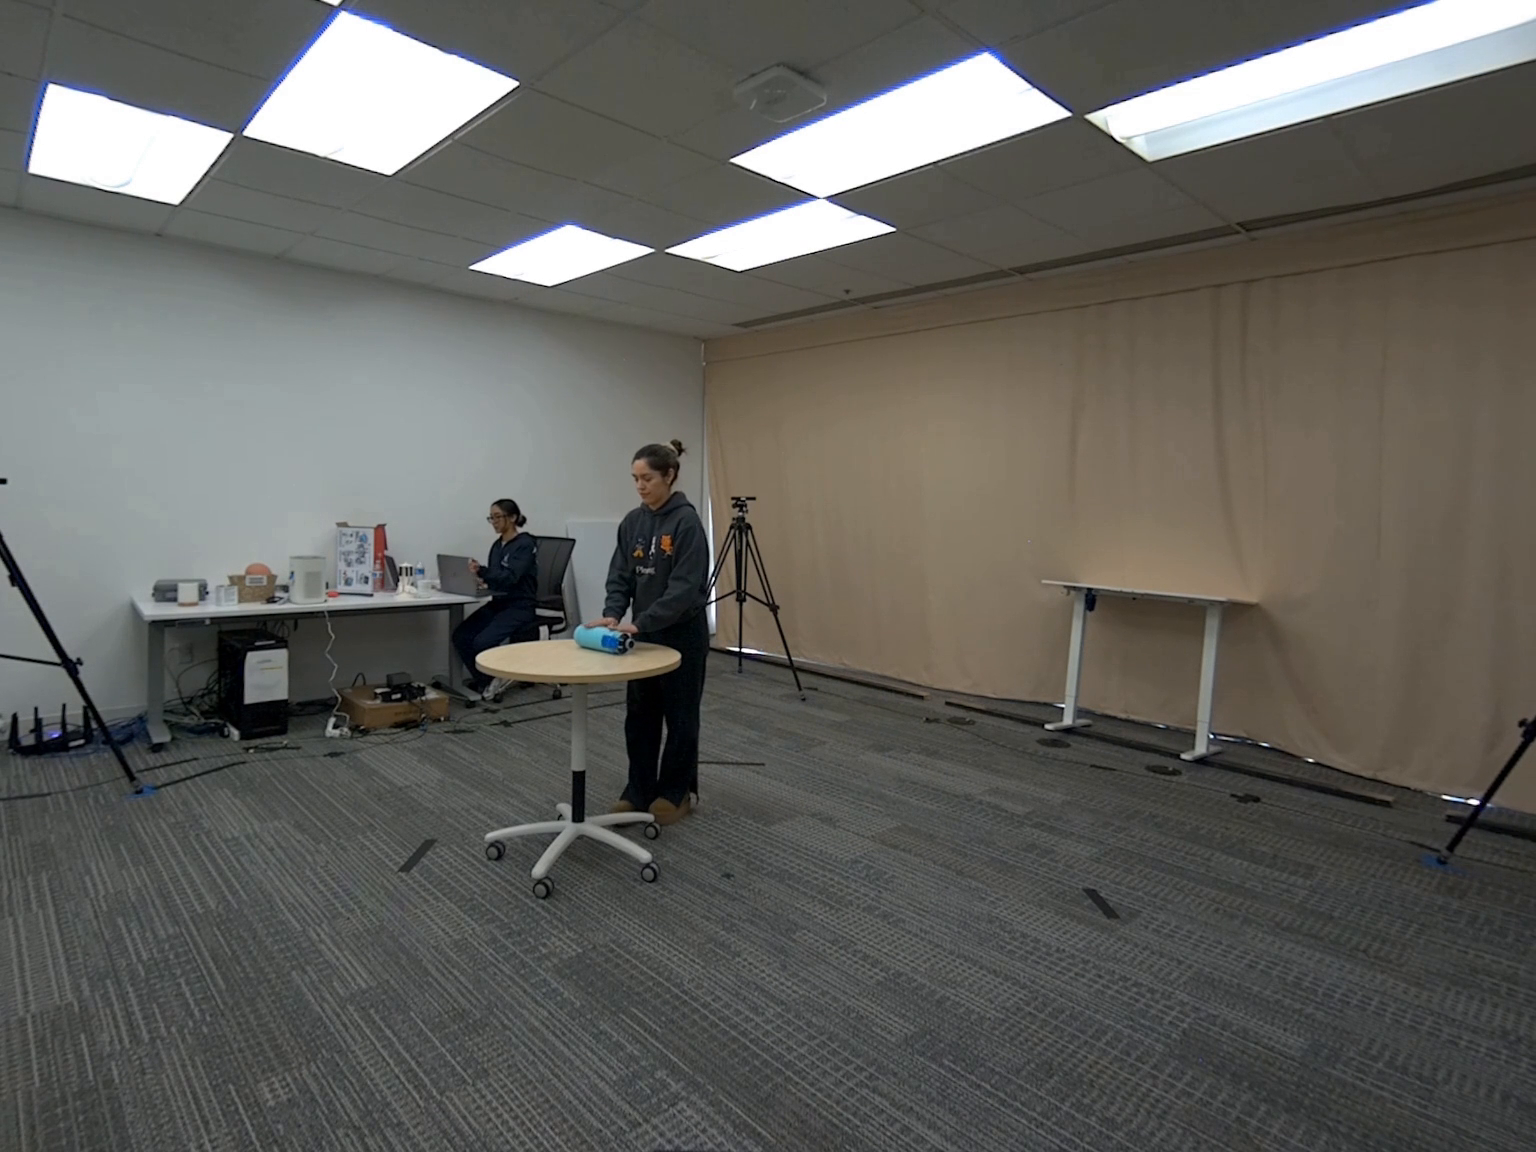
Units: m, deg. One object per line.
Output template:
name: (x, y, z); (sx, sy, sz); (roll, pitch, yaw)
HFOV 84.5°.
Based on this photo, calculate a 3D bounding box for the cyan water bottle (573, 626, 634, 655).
cyan water bottle: (-0.657, 0.252, 3.302); (0.291, 0.092, 0.090); (6, 7, 41)
